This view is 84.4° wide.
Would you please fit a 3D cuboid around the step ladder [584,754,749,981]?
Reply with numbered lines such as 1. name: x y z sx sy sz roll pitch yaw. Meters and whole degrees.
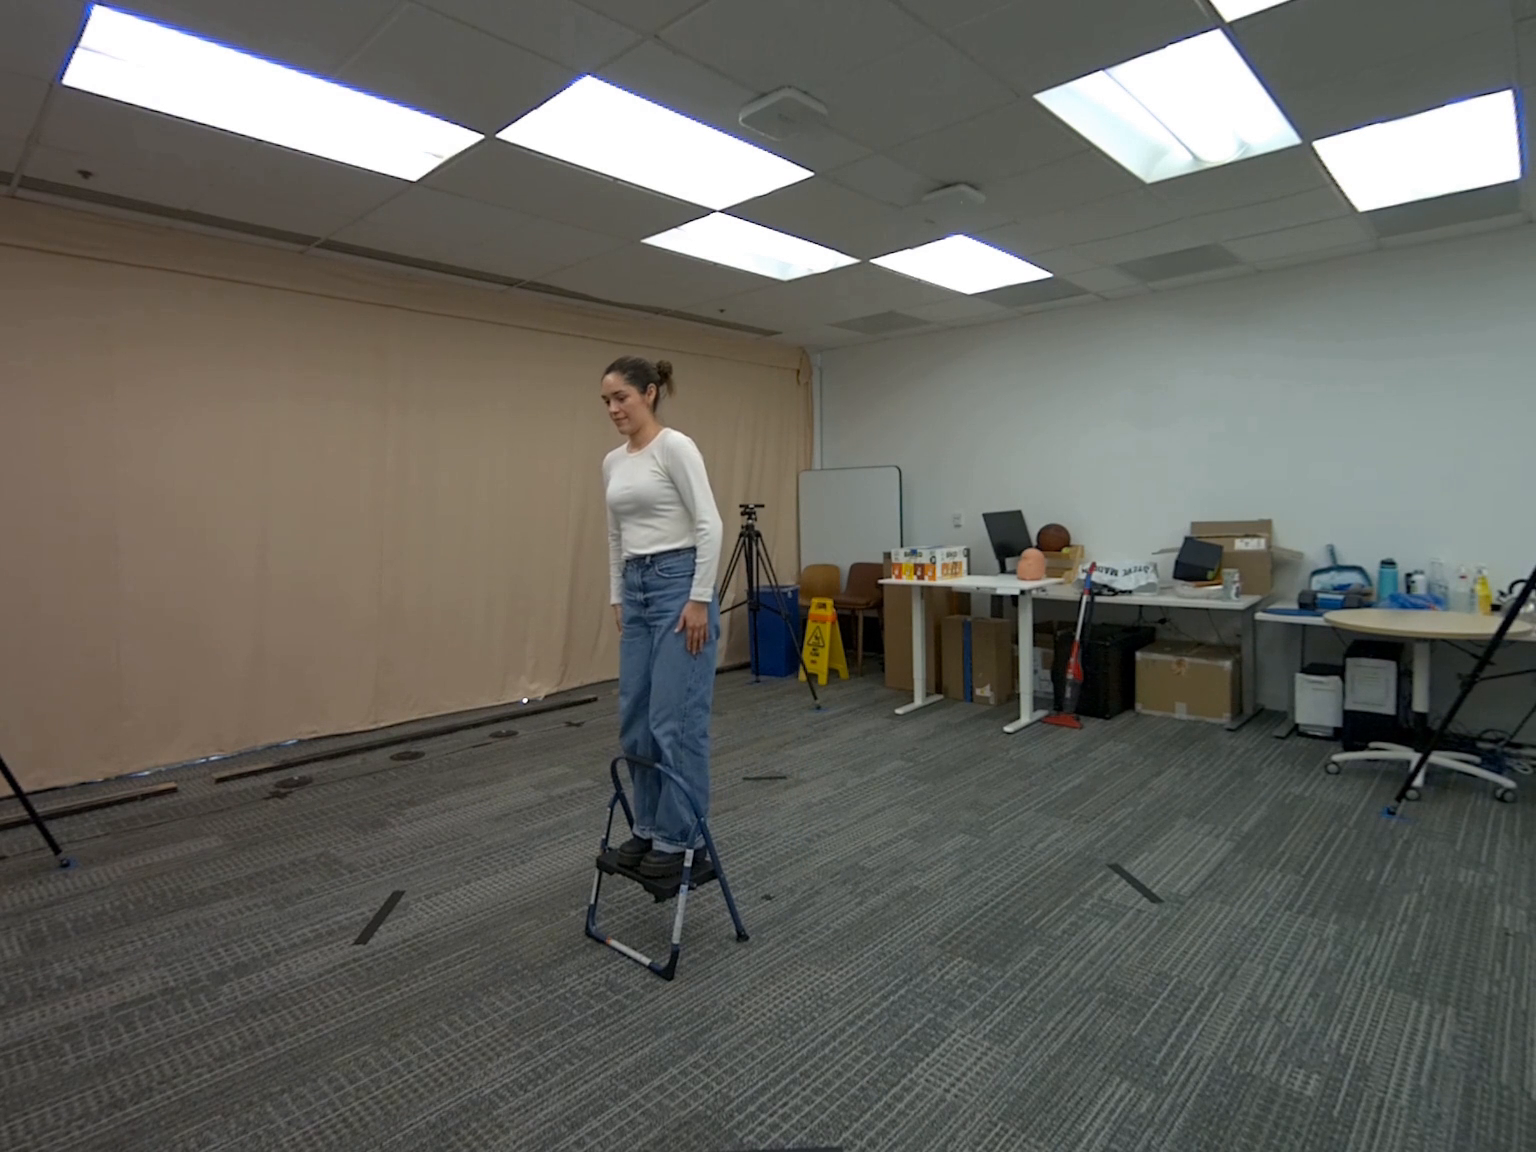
1. step ladder: -0.337 0.867 2.714 0.445 0.605 0.339 2 4 42
